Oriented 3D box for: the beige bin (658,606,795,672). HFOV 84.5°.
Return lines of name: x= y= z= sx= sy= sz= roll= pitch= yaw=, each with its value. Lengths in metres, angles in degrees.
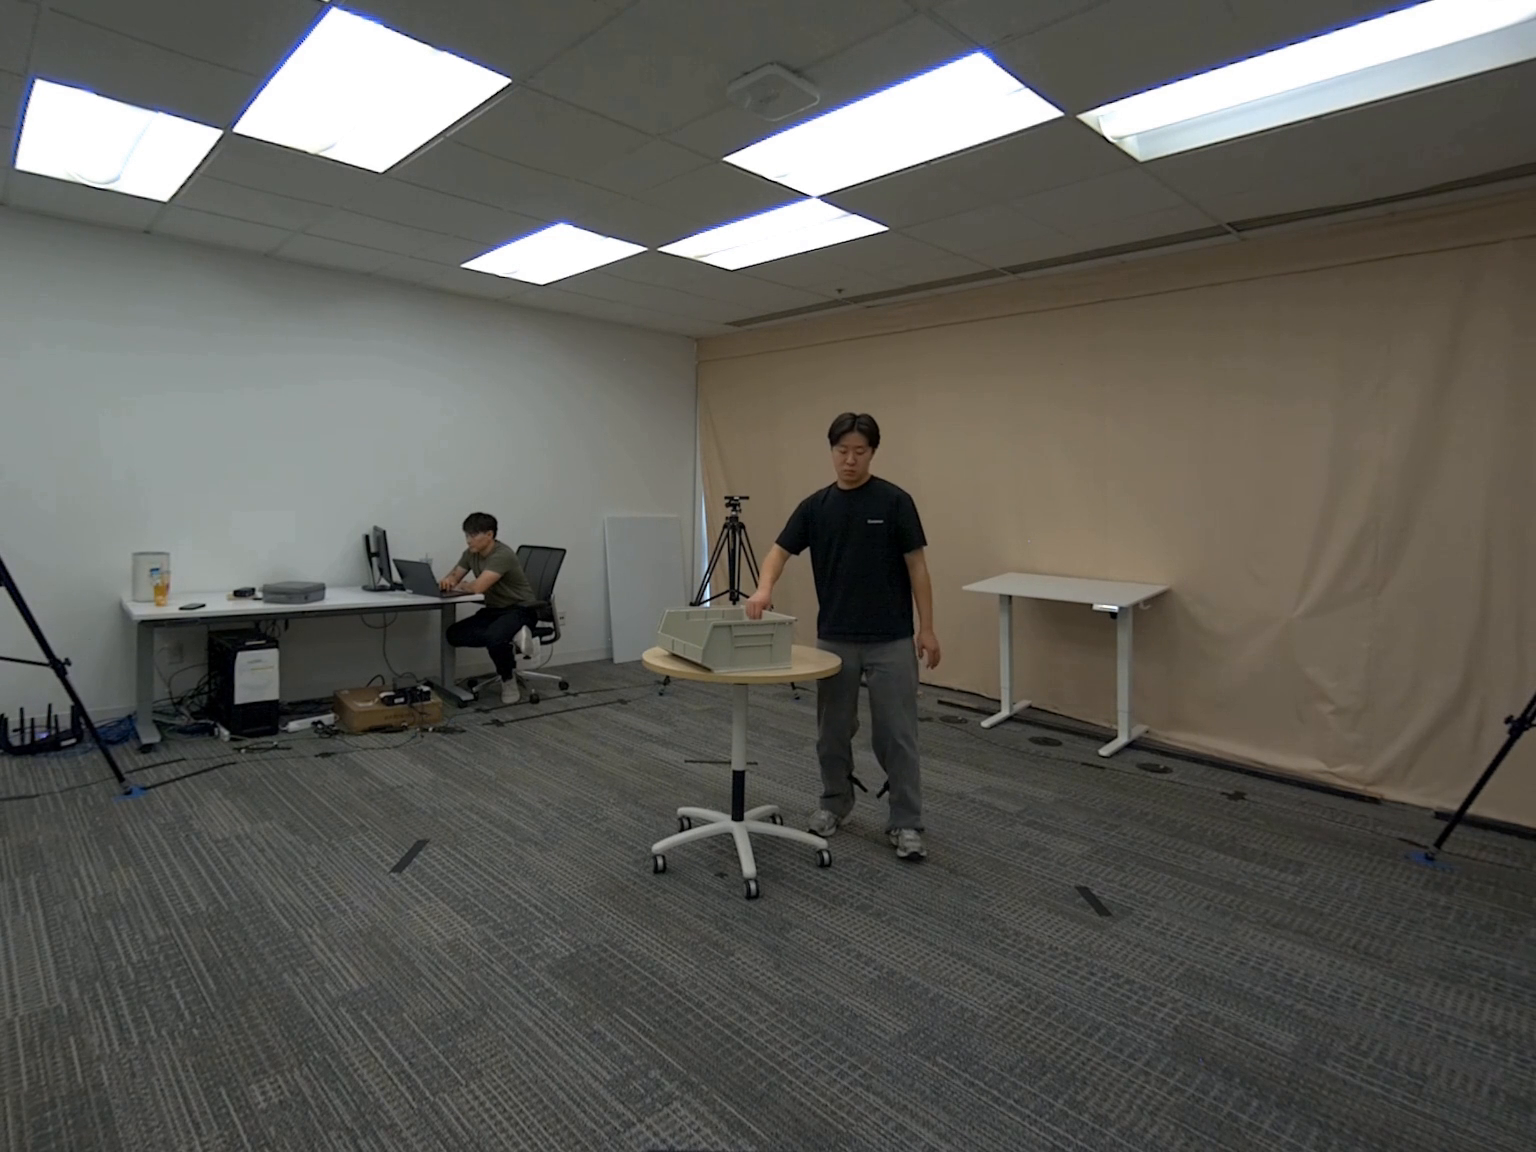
beige bin: x=-0.168 y=0.229 z=3.122 sx=0.370 sy=0.189 sz=0.431 roll=1 pitch=3 yaw=-29
